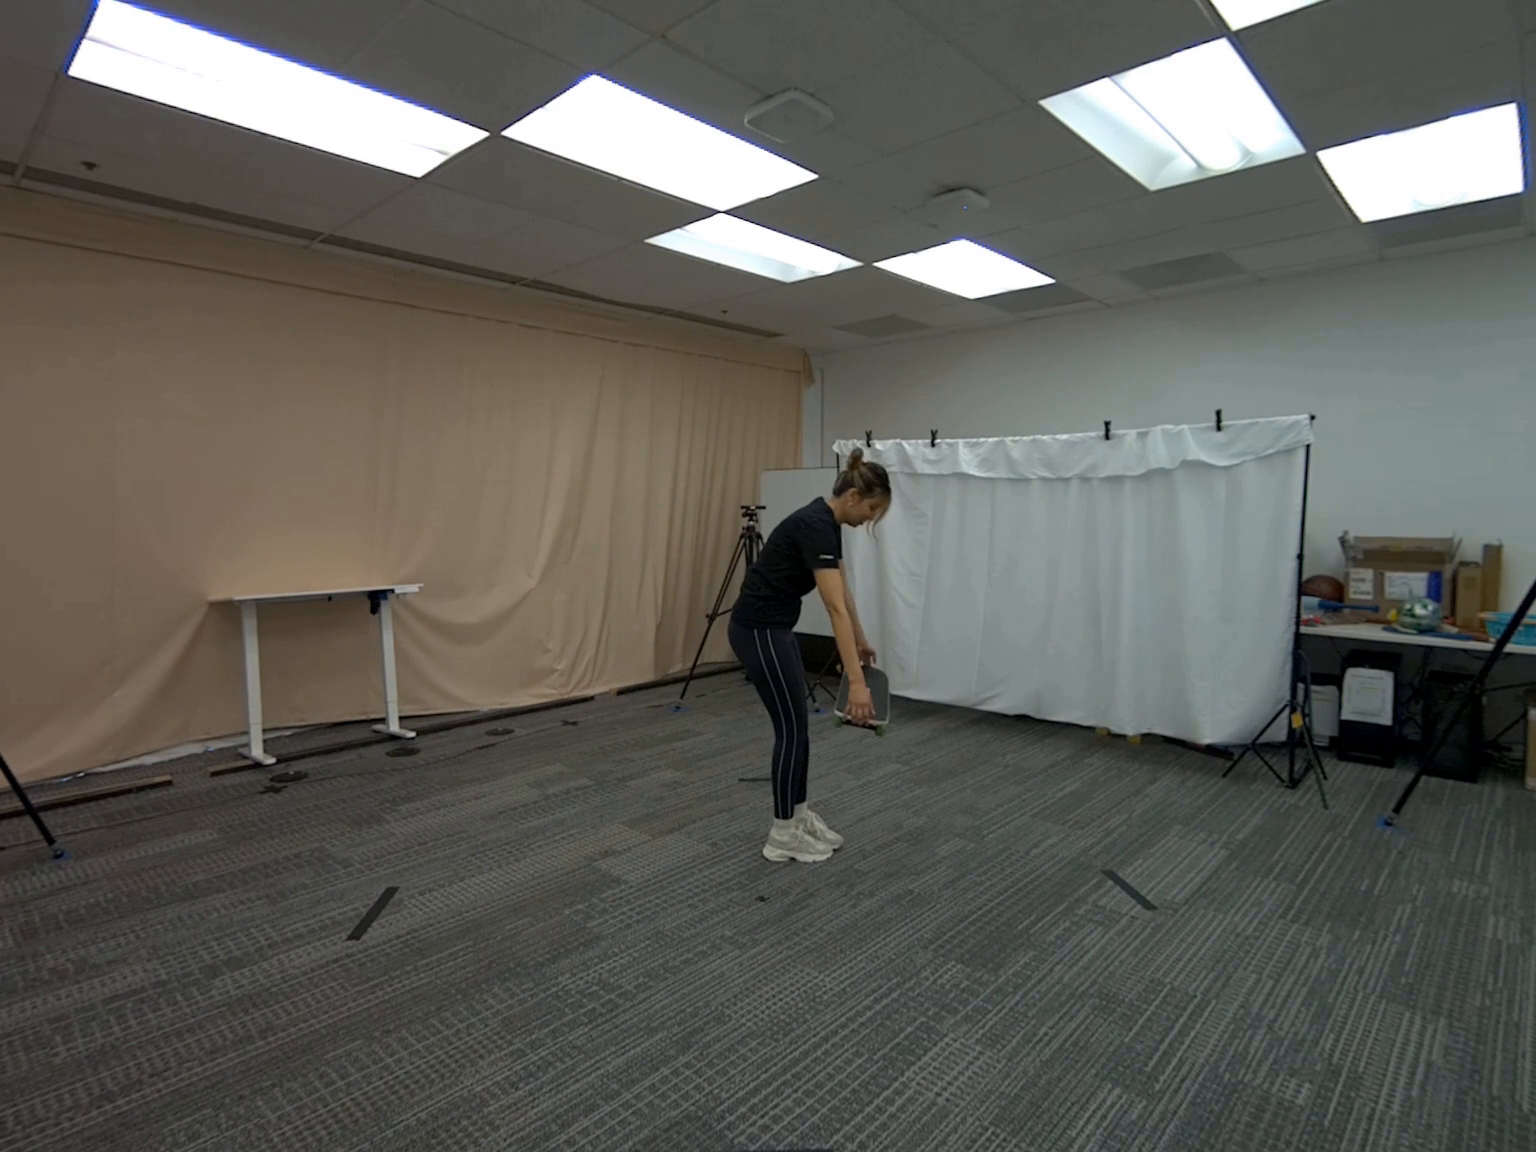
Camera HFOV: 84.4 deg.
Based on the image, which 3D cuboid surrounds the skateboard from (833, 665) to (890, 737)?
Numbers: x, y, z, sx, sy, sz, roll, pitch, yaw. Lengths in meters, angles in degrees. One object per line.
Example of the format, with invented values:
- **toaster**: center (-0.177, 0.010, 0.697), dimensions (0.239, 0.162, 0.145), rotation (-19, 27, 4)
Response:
- **skateboard**: center (0.378, 0.497, 3.272), dimensions (0.196, 0.110, 0.779), rotation (9, 9, 8)
